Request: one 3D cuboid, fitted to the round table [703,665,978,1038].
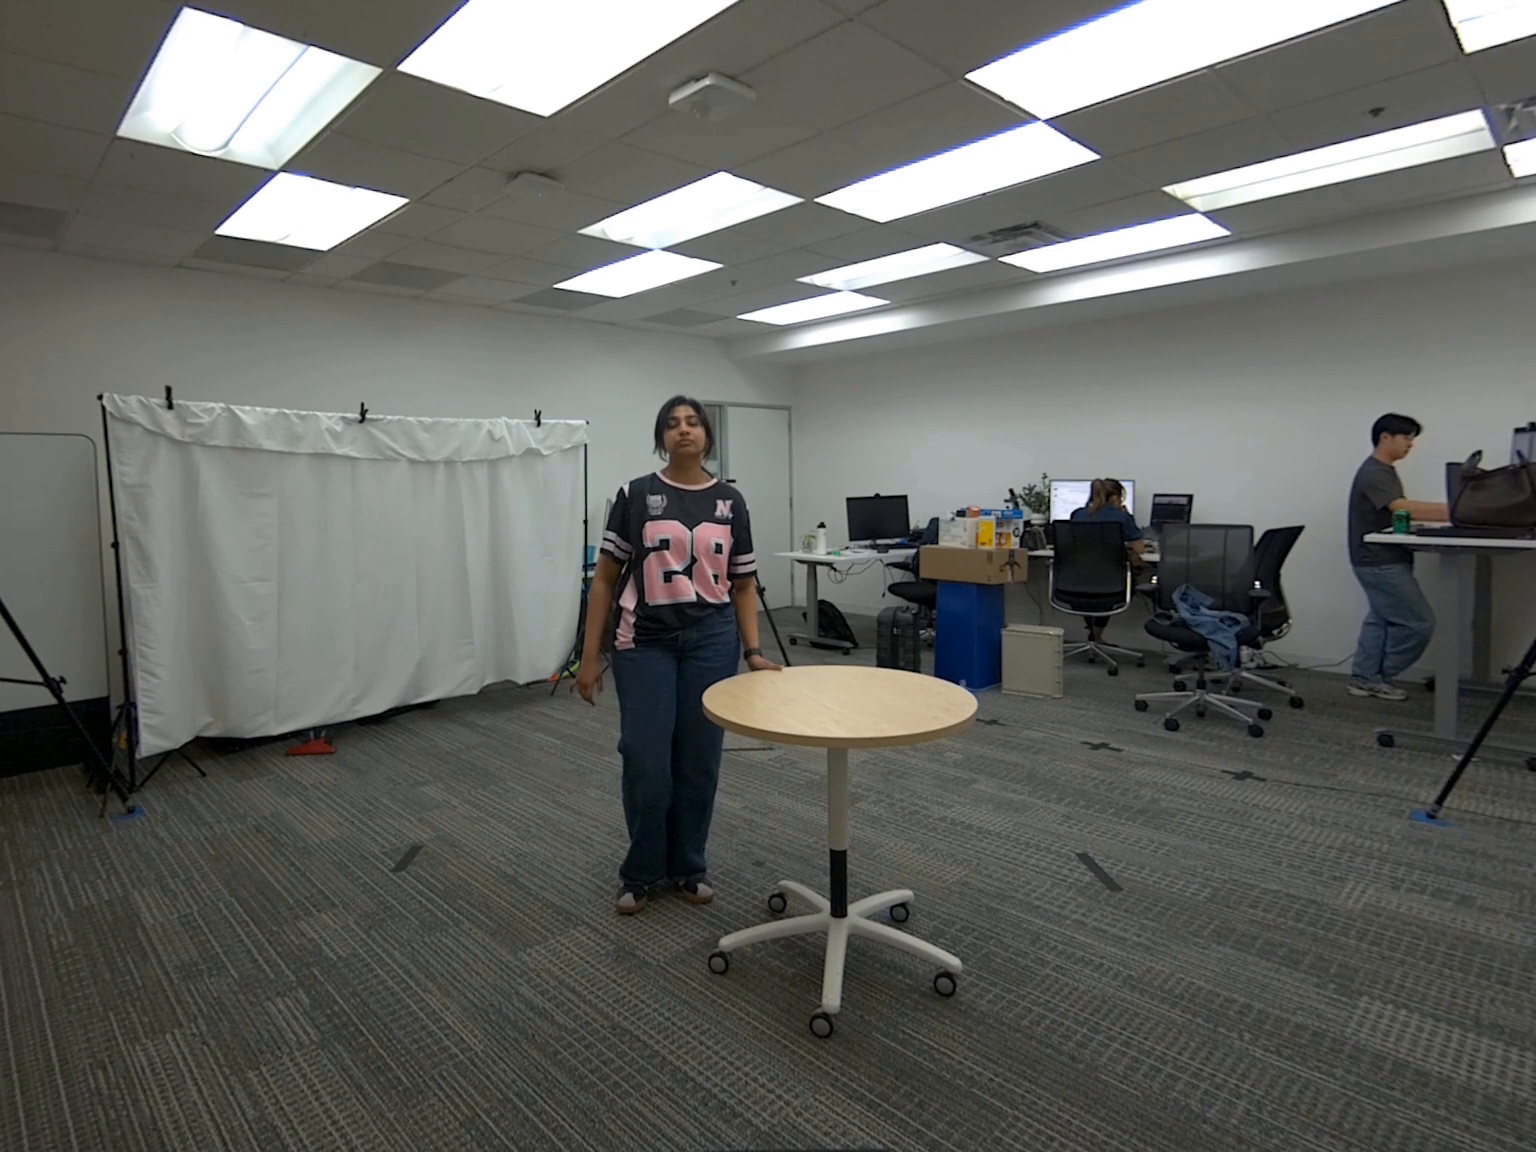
[{"bbox_3d":[0.190,0.727,2.447,0.784,0.783,0.789,-1,5,-2],"label":"round table"}]
